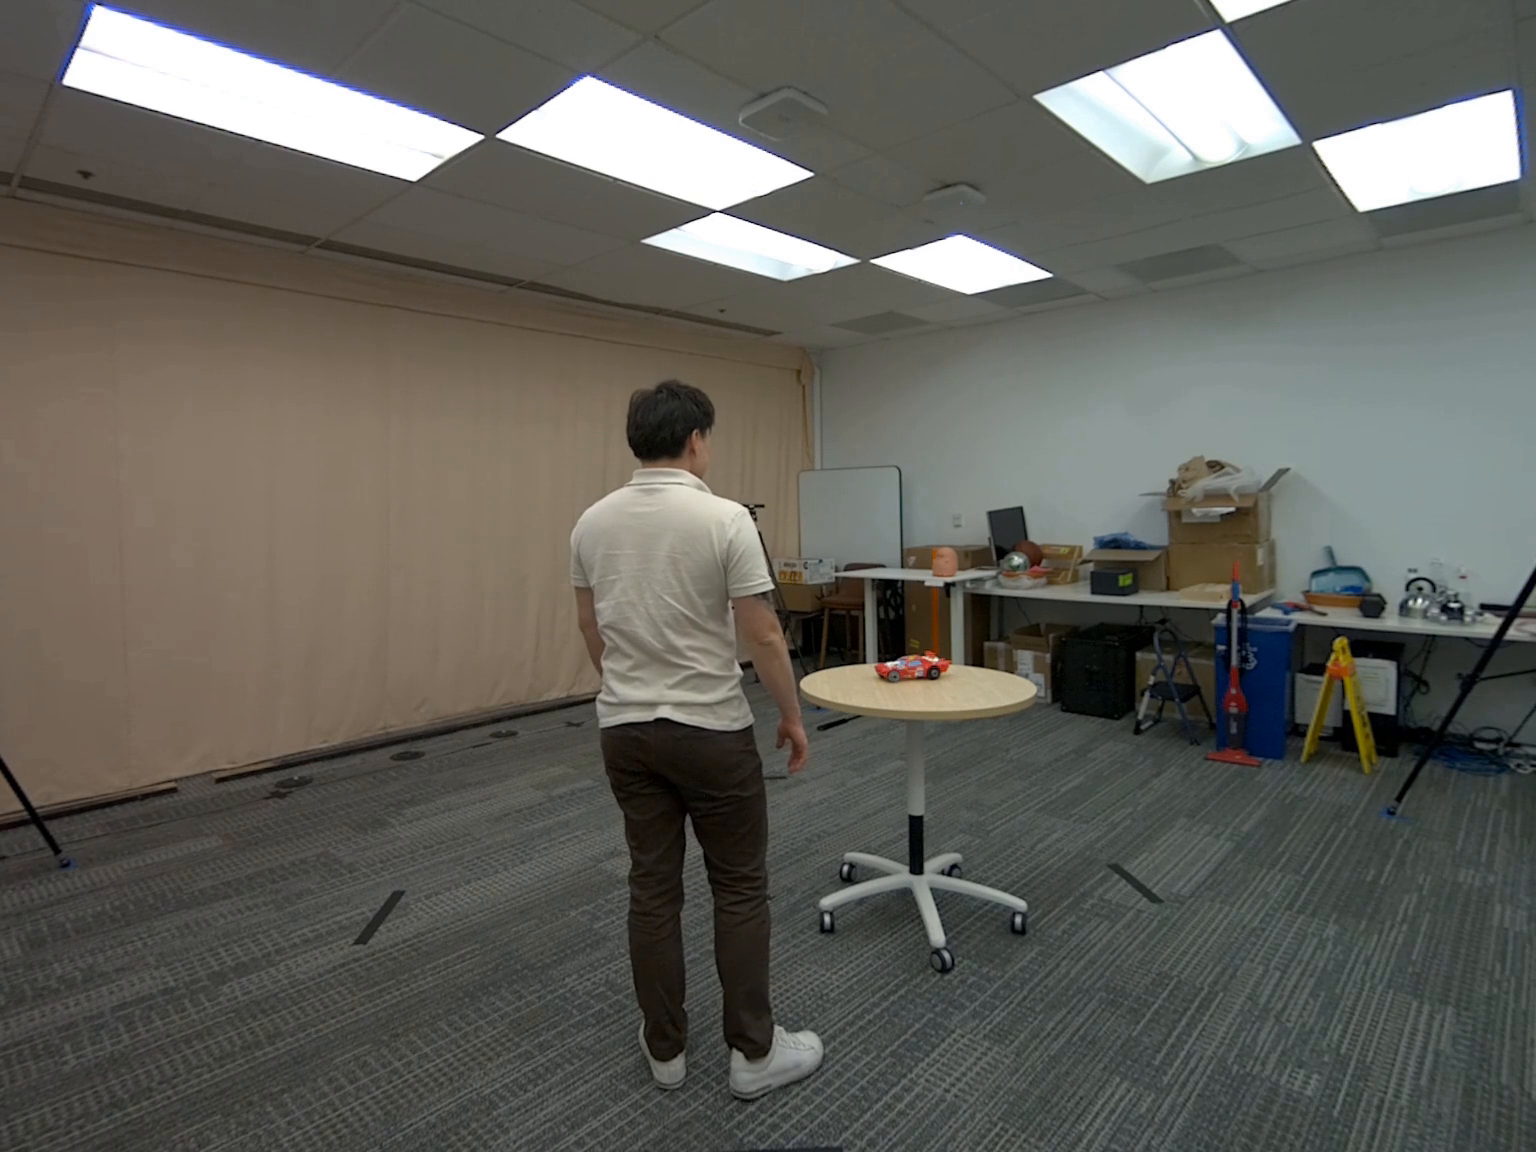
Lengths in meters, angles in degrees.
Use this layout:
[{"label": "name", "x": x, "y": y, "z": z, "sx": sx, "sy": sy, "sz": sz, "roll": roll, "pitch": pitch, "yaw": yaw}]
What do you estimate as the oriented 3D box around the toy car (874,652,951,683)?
[{"label": "toy car", "x": 0.514, "y": 0.320, "z": 2.905, "sx": 0.252, "sy": 0.083, "sz": 0.132, "roll": -14, "pitch": 7, "yaw": -11}]
